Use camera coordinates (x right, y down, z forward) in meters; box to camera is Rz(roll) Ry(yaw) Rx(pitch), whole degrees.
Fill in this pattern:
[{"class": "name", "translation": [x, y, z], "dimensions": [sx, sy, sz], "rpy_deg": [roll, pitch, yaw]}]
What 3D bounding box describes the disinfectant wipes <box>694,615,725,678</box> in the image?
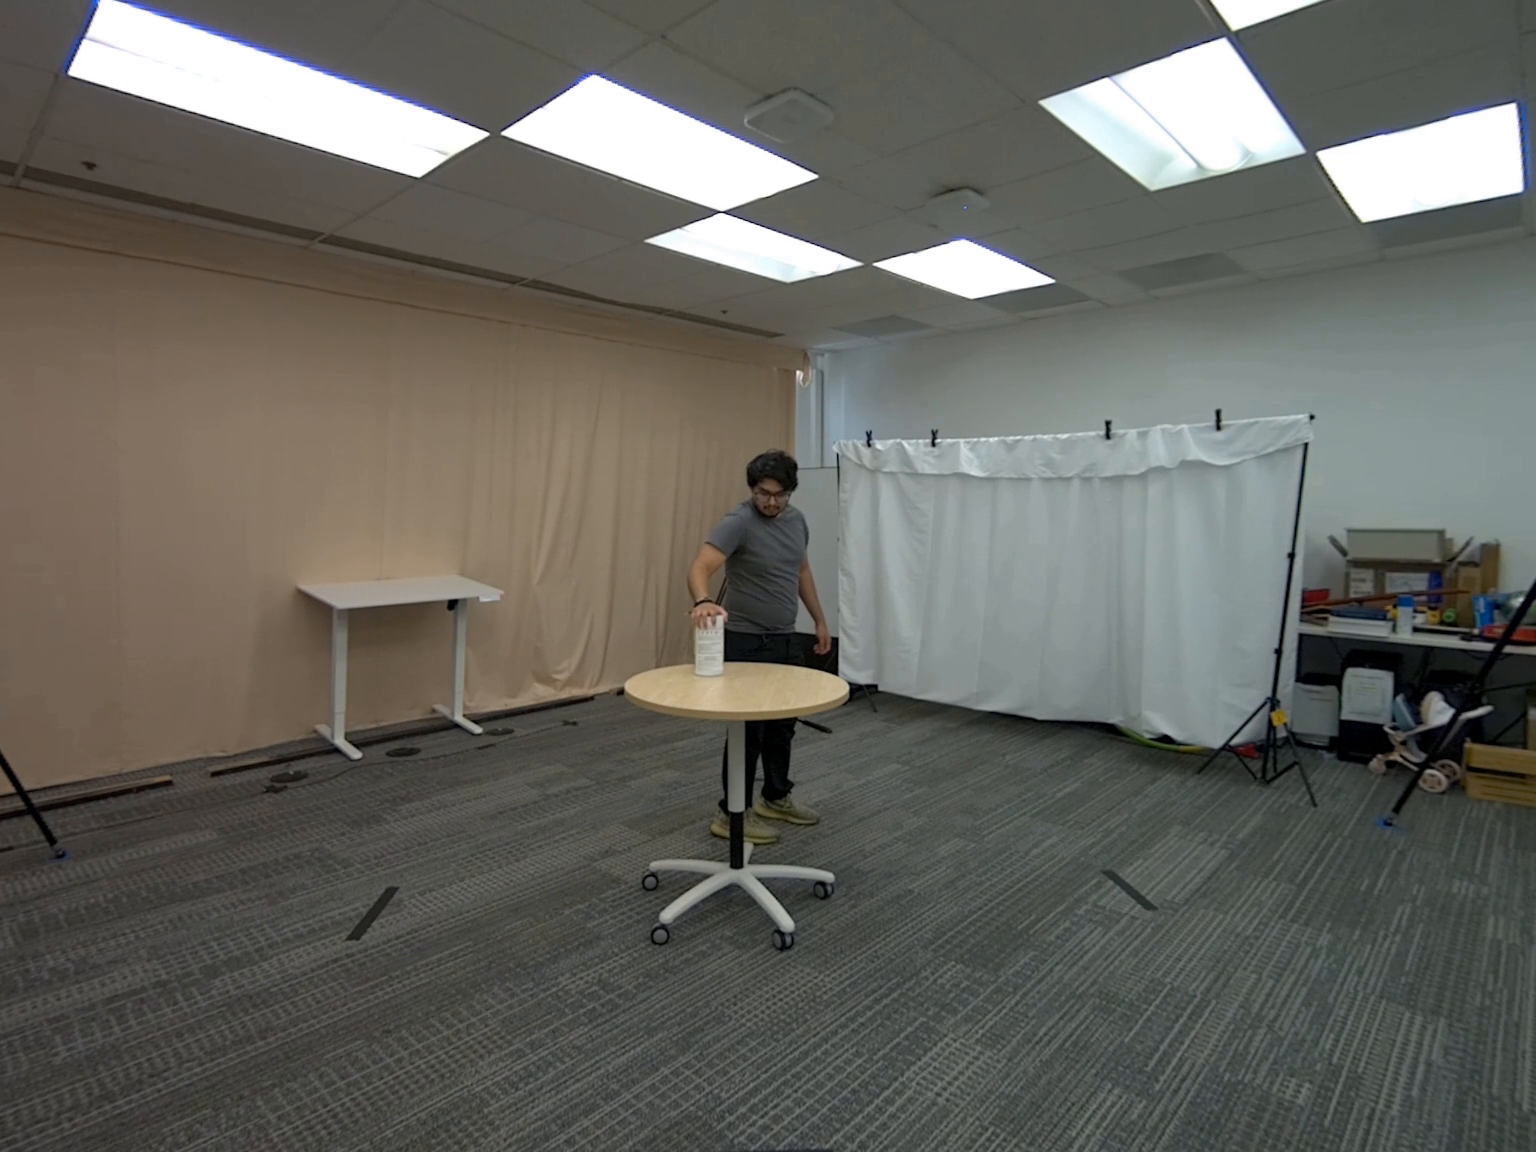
[{"class": "disinfectant wipes", "translation": [-0.213, 0.250, 3.047], "dimensions": [0.118, 0.217, 0.118], "rpy_deg": [0, 2, -2]}]
